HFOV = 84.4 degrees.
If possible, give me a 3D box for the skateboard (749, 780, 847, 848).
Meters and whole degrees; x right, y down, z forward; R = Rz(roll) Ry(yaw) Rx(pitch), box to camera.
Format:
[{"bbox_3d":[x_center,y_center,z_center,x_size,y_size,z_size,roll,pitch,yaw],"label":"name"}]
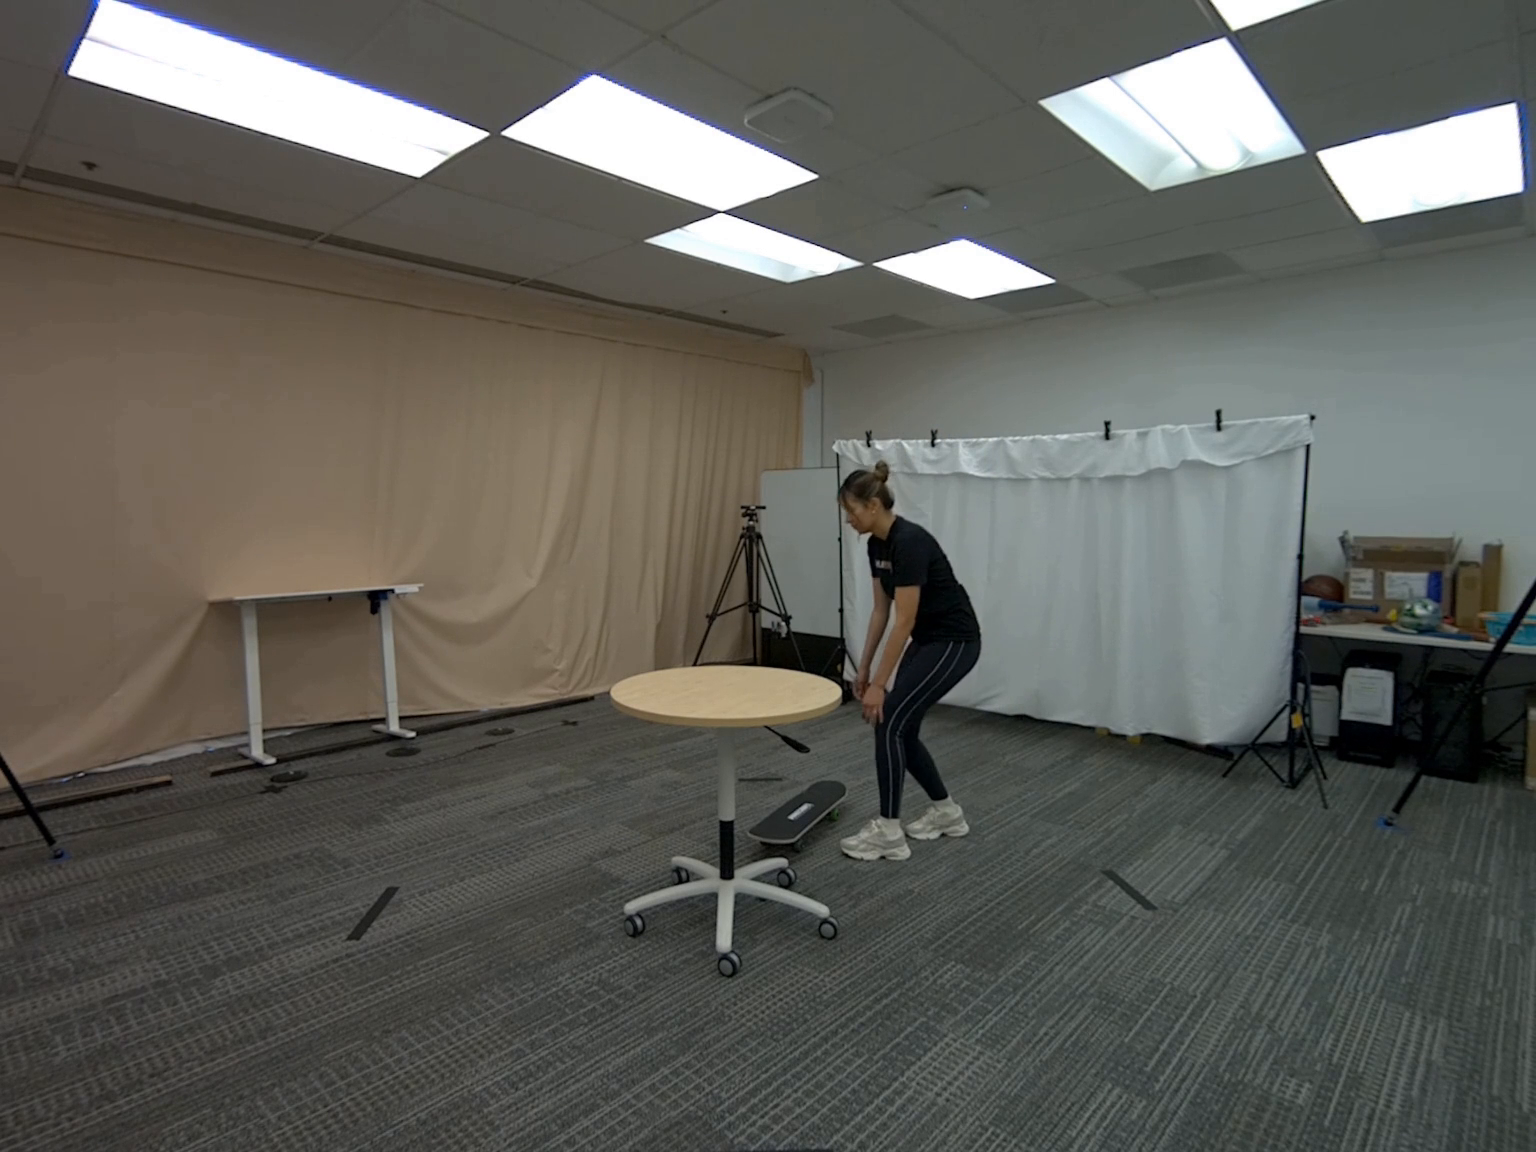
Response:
[{"bbox_3d":[0.145,1.040,3.597,0.199,0.110,0.766,2,5,26],"label":"skateboard"}]
